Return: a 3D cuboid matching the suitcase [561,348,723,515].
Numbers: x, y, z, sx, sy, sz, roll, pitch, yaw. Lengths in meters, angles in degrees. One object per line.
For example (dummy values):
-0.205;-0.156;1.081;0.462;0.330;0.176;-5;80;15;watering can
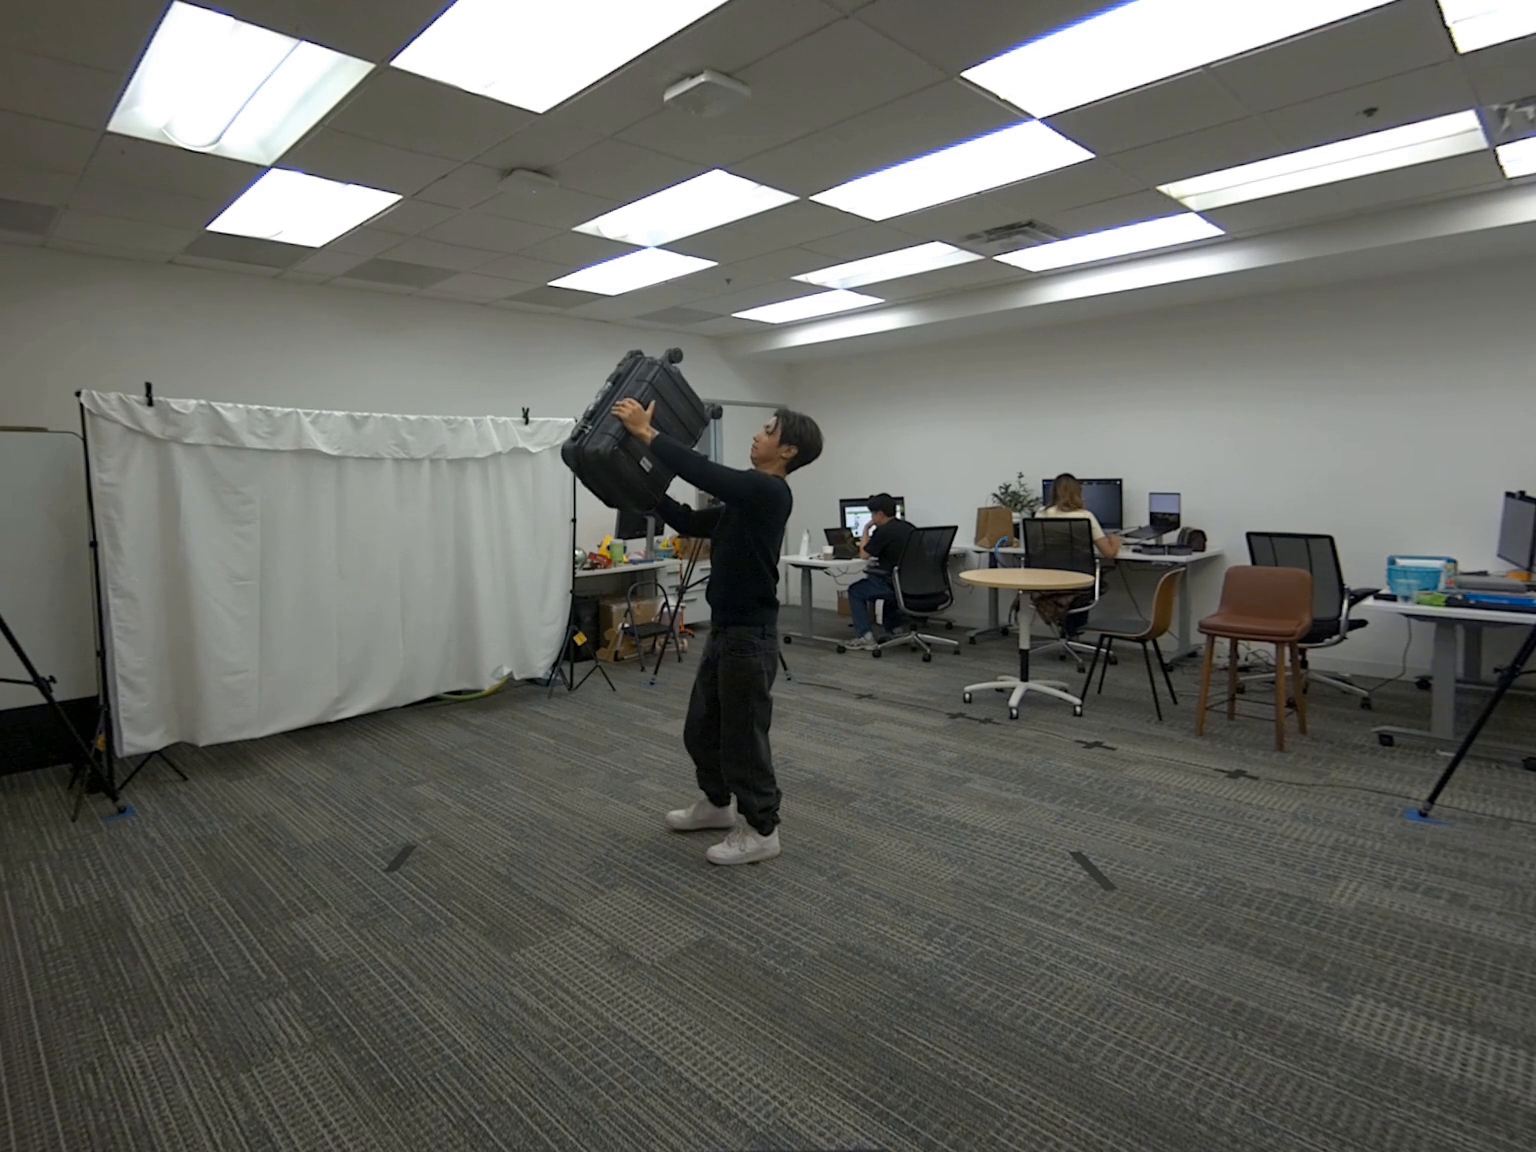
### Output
-0.460;-0.521;3.070;0.256;0.553;0.361;9;-30;39;suitcase
